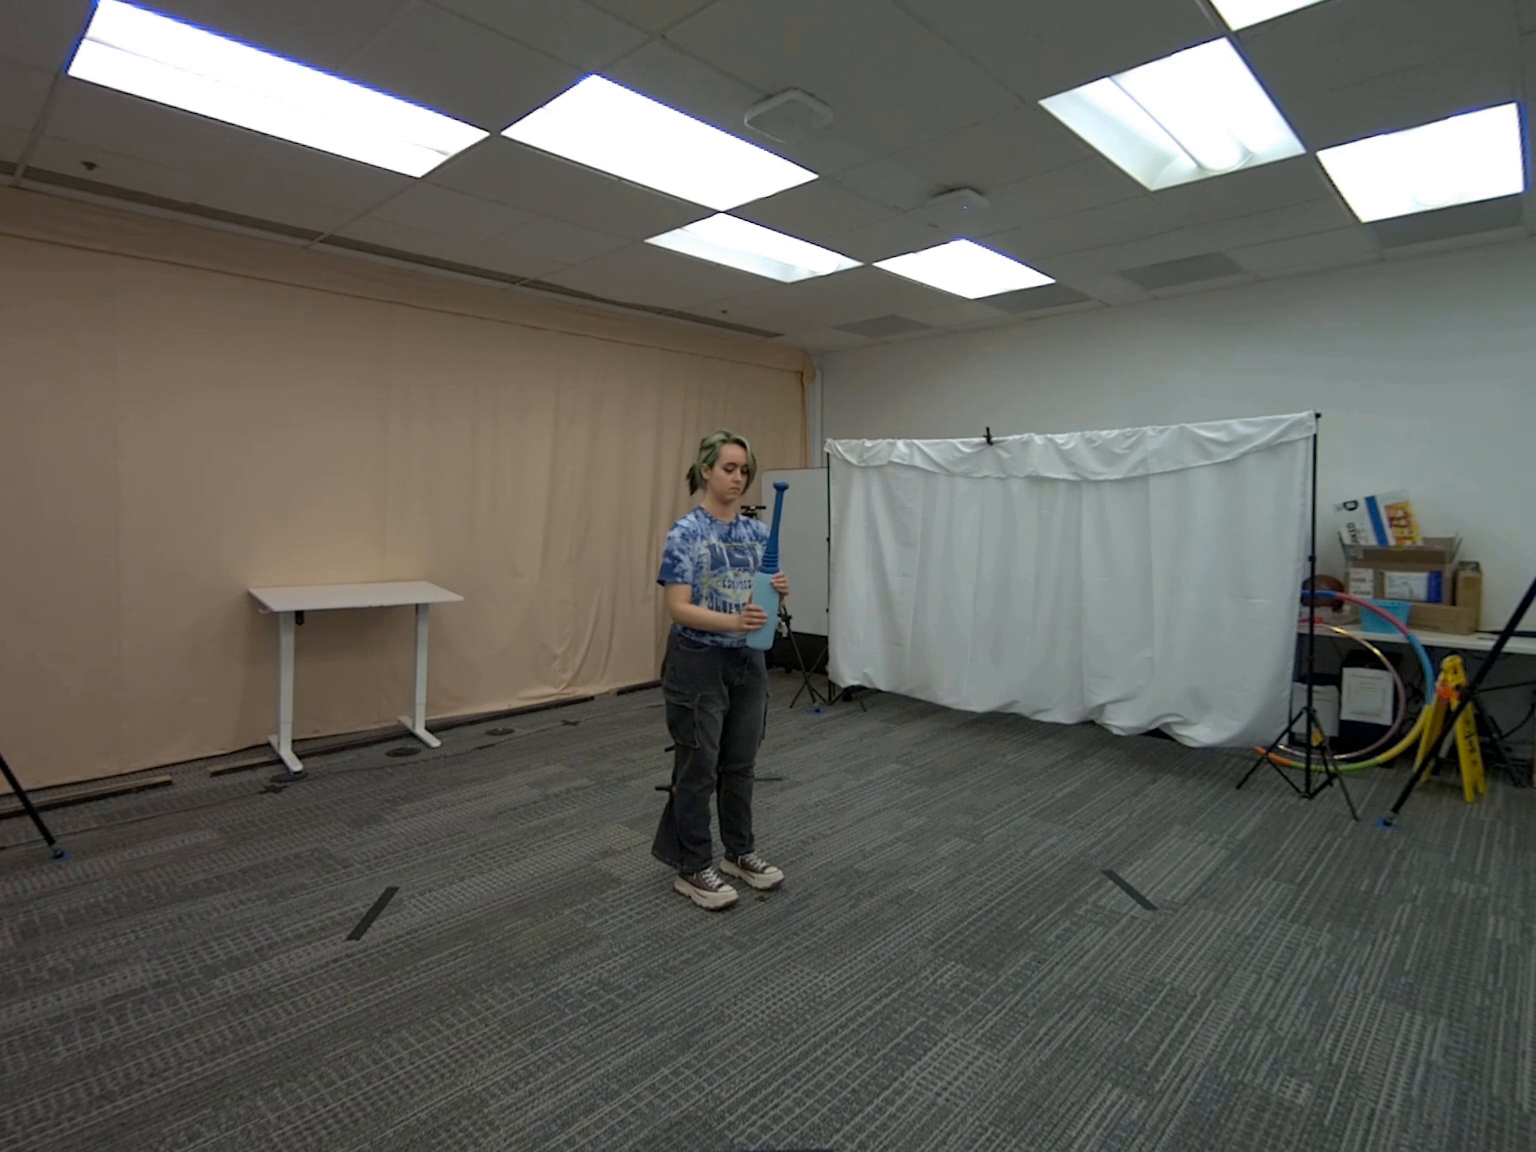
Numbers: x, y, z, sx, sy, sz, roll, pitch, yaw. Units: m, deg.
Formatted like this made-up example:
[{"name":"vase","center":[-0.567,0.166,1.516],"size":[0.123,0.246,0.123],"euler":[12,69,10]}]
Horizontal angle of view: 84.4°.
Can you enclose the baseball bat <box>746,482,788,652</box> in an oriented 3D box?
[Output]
[{"name":"baseball bat","center":[0.009,-0.035,2.695],"size":[0.089,0.541,0.089],"euler":[6,8,-3]}]
